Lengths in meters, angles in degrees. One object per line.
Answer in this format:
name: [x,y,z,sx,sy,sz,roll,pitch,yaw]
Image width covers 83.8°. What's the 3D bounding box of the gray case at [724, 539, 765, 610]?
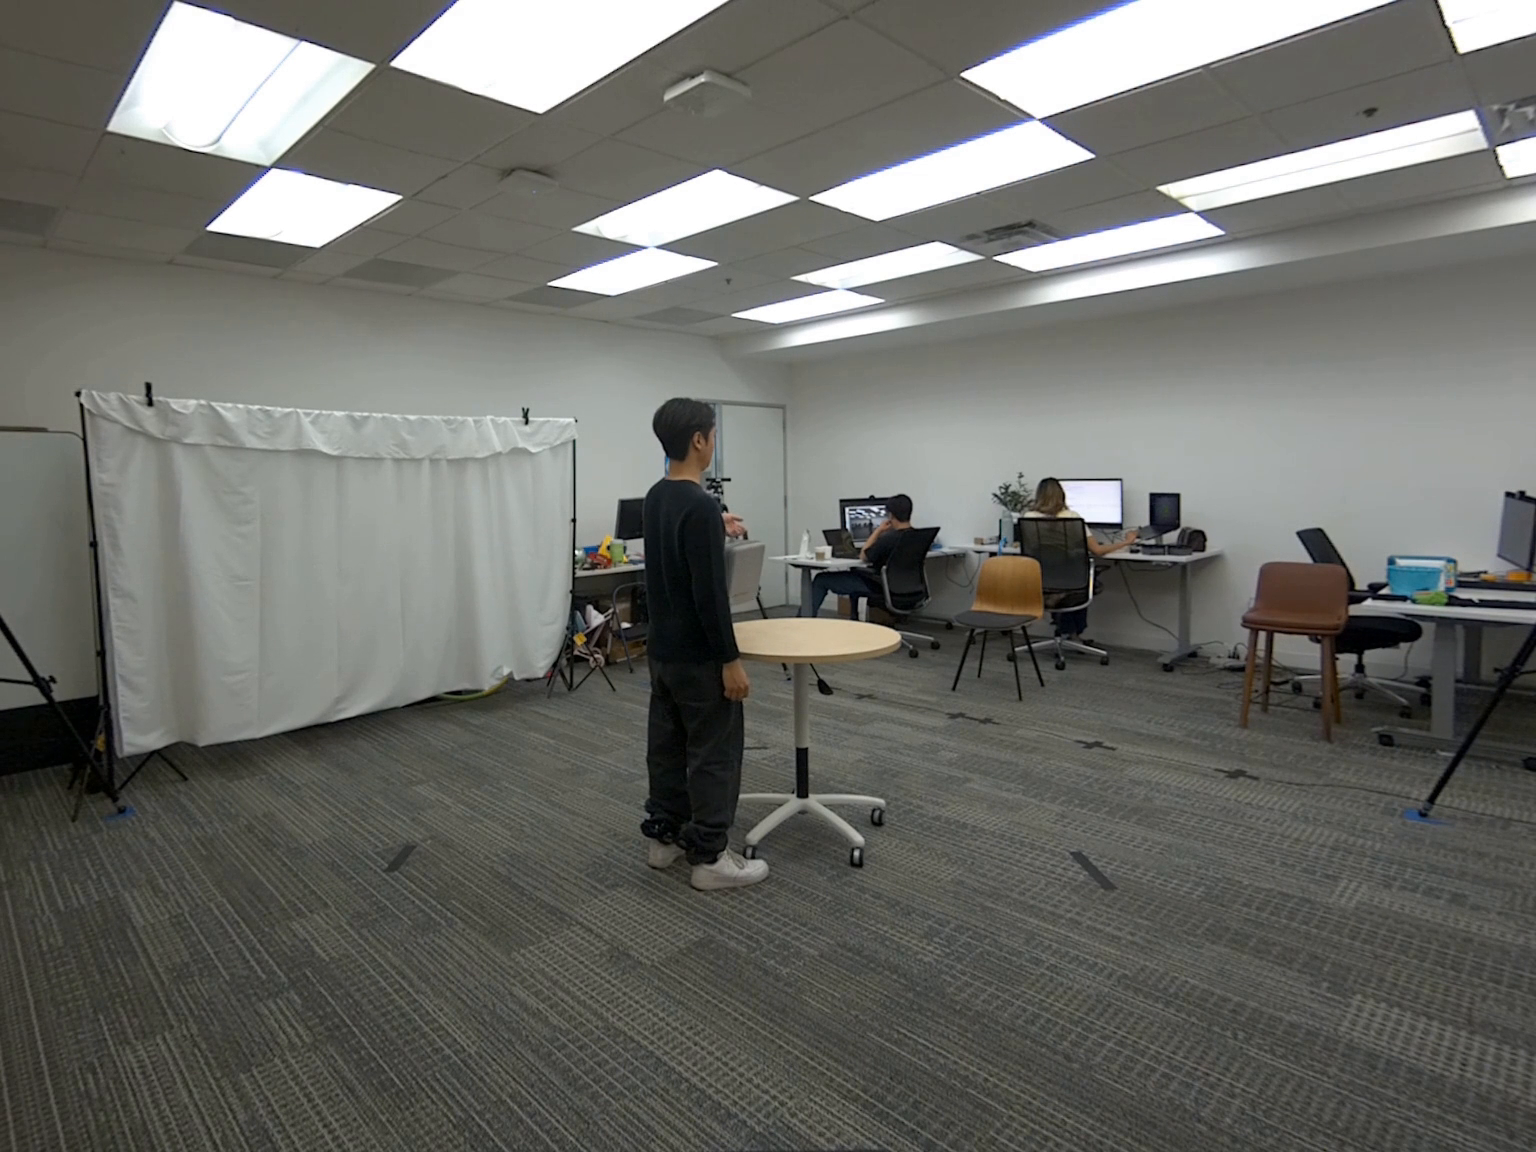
gray case: [-0.125,-0.016,3.431,0.107,0.258,0.252,13,12,27]
